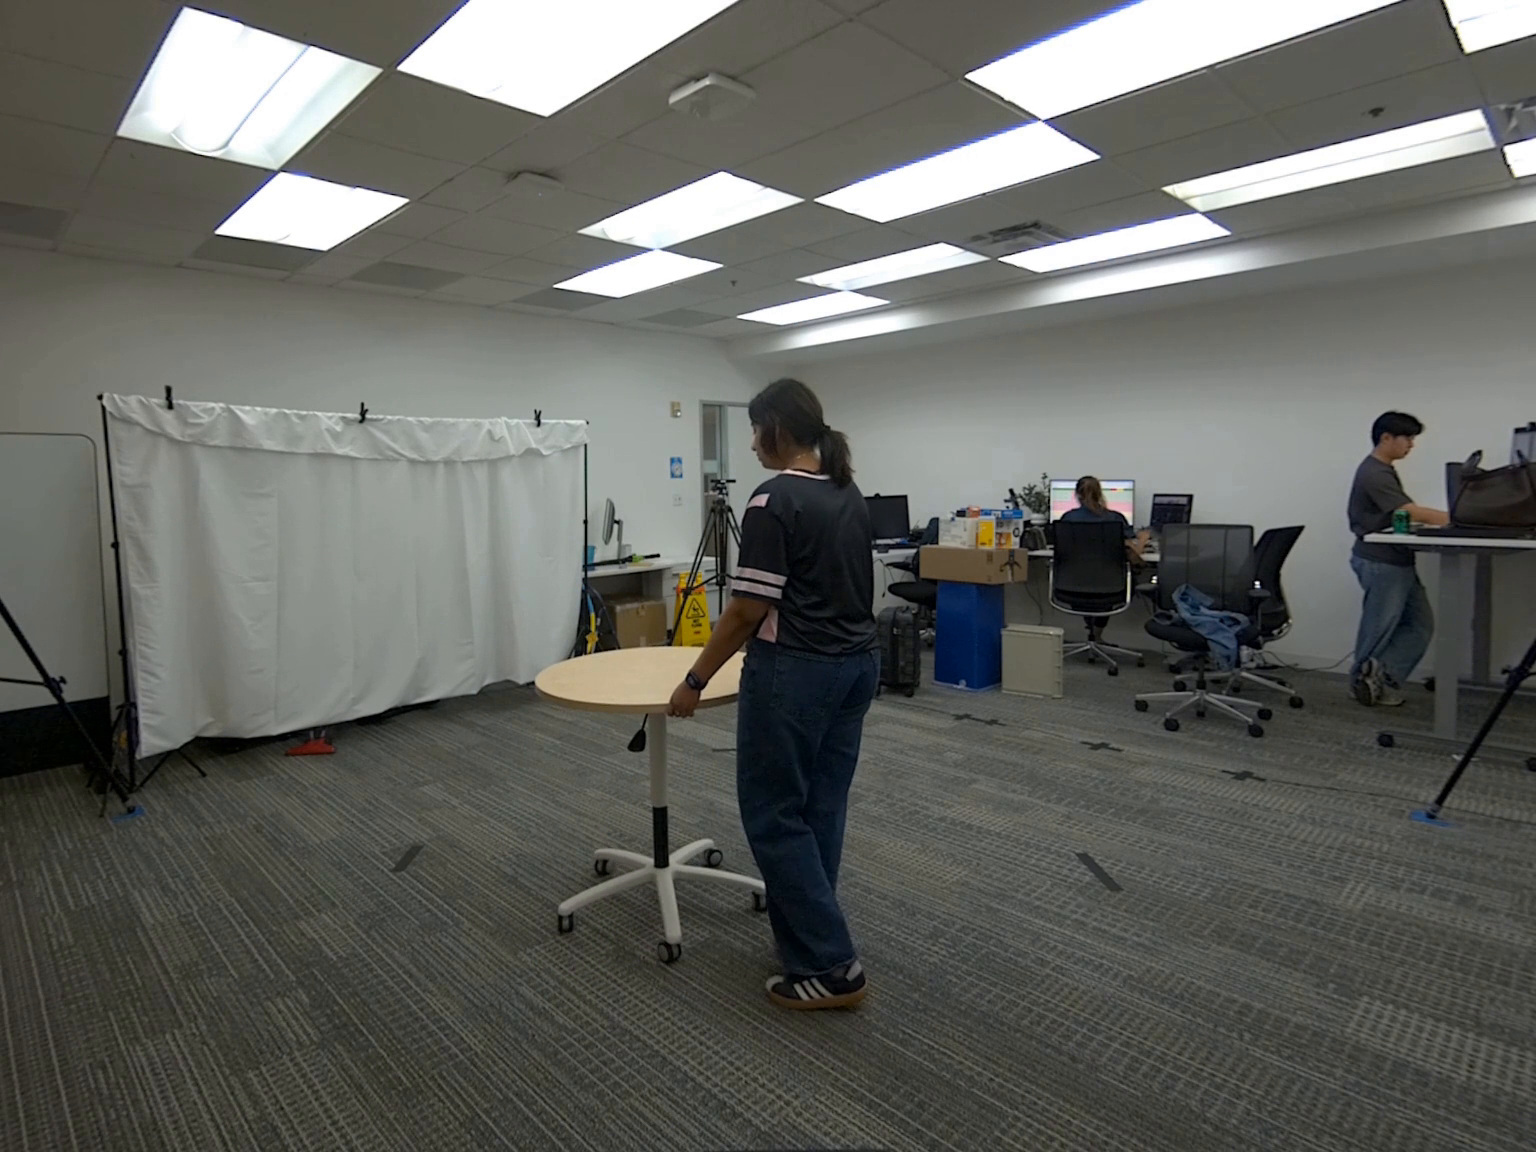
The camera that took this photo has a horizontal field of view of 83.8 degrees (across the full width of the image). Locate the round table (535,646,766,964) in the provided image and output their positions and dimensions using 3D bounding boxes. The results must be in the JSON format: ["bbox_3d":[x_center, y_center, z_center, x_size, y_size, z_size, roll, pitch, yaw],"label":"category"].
[{"bbox_3d":[-0.345,0.698,2.792,0.763,0.790,0.768,-2,5,-2],"label":"round table"}]
